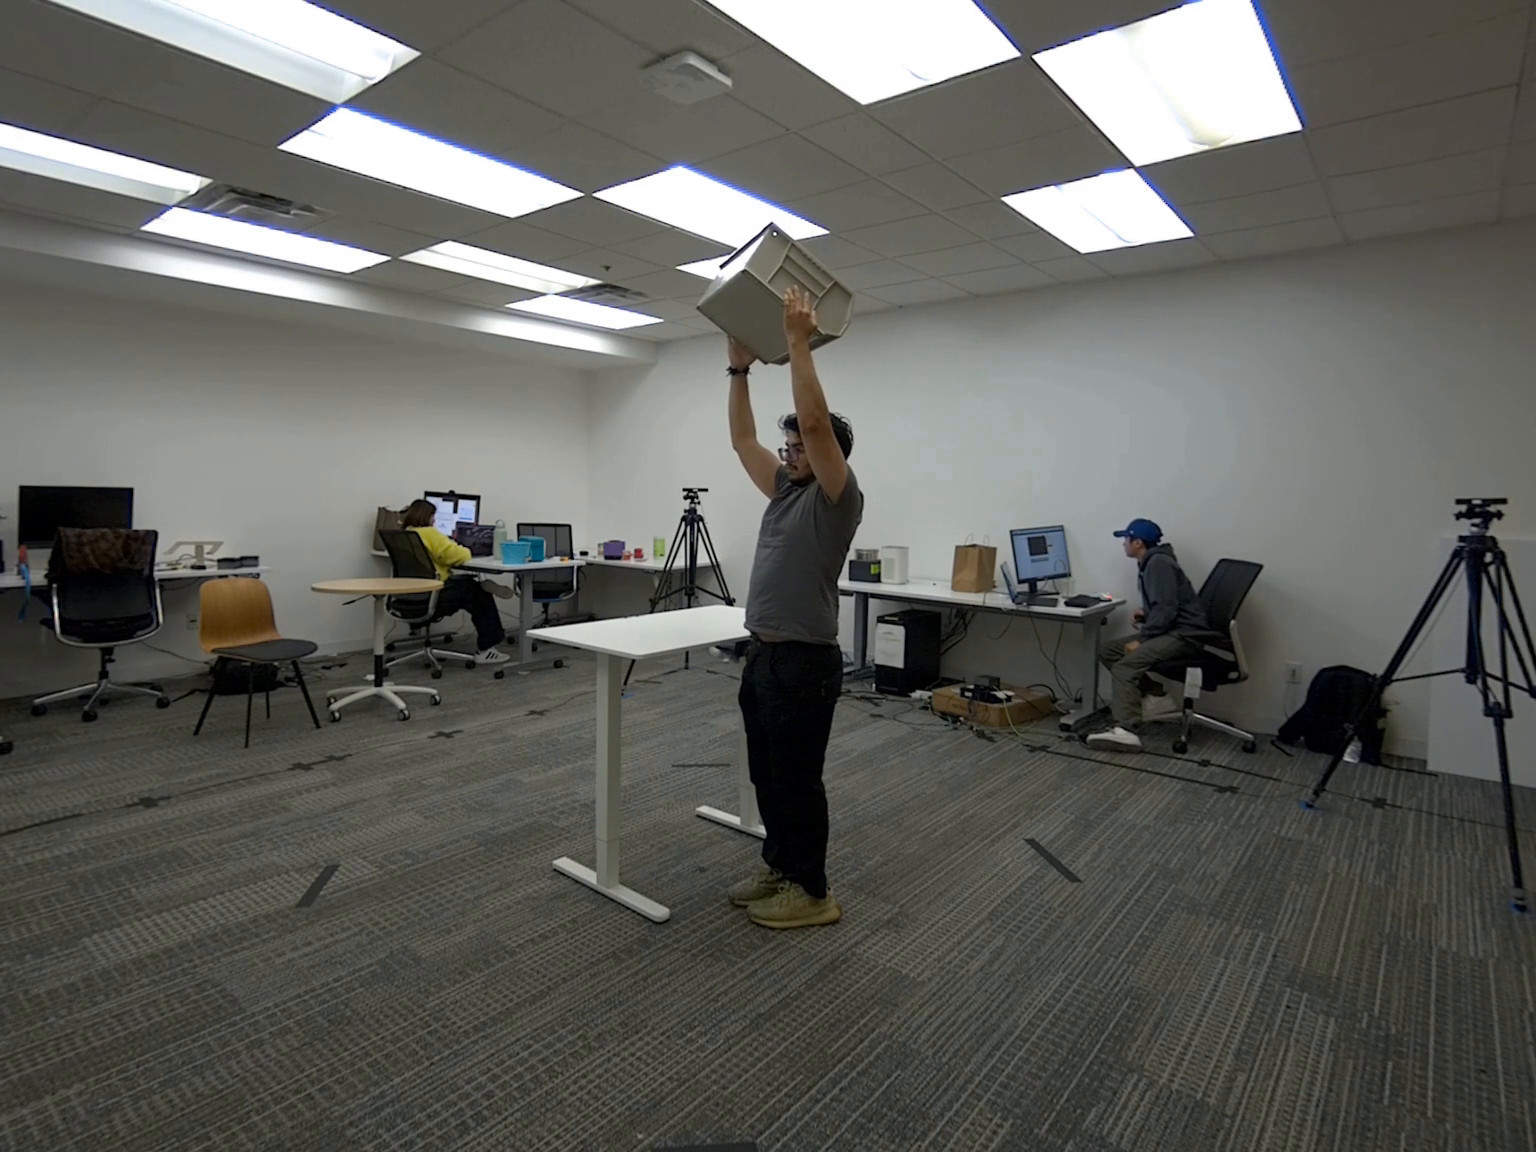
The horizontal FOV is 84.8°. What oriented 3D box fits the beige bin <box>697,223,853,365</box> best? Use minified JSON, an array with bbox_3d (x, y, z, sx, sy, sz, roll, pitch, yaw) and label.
[{"bbox_3d":[0.010,-0.875,2.739,0.368,0.189,0.432,35,-13,-20],"label":"beige bin"}]
